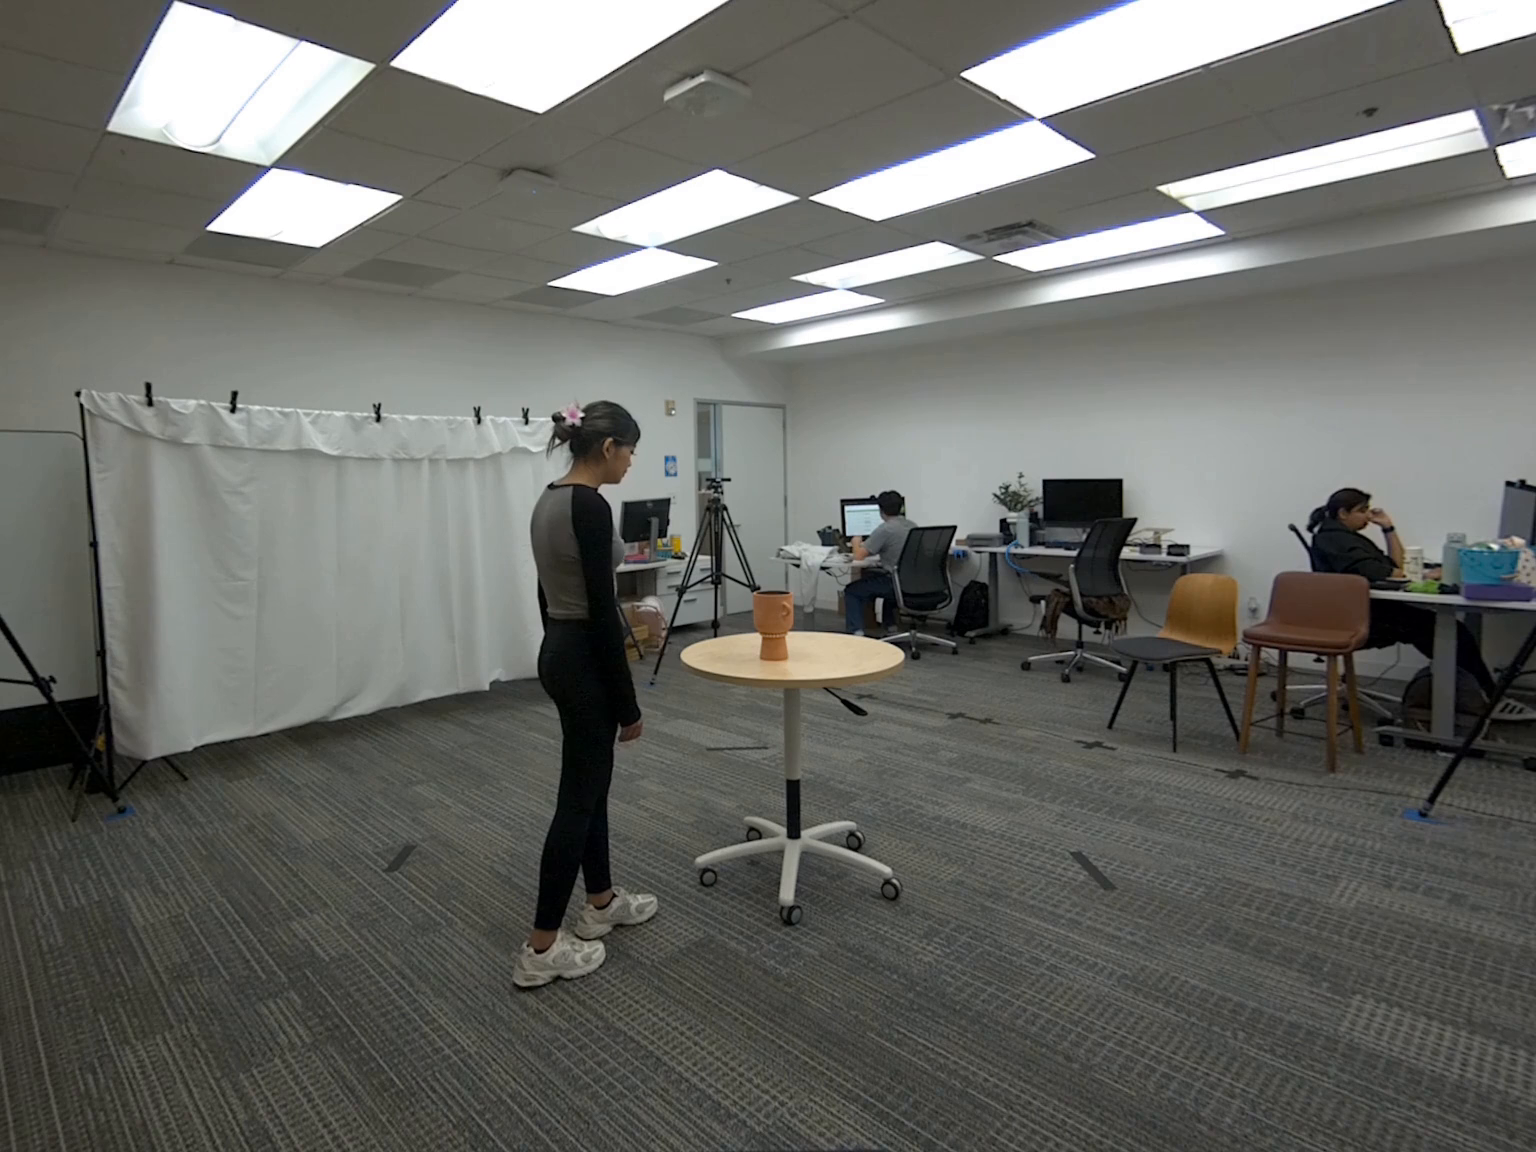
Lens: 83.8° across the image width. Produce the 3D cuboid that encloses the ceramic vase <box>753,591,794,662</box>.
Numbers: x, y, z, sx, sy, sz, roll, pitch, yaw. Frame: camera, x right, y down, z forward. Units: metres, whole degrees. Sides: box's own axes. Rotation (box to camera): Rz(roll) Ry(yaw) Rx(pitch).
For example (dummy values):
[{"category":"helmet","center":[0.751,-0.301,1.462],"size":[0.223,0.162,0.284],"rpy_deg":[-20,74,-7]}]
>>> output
[{"category":"ceramic vase","center":[0.027,0.168,2.864],"size":[0.136,0.219,0.158],"rpy_deg":[-1,4,8]}]
